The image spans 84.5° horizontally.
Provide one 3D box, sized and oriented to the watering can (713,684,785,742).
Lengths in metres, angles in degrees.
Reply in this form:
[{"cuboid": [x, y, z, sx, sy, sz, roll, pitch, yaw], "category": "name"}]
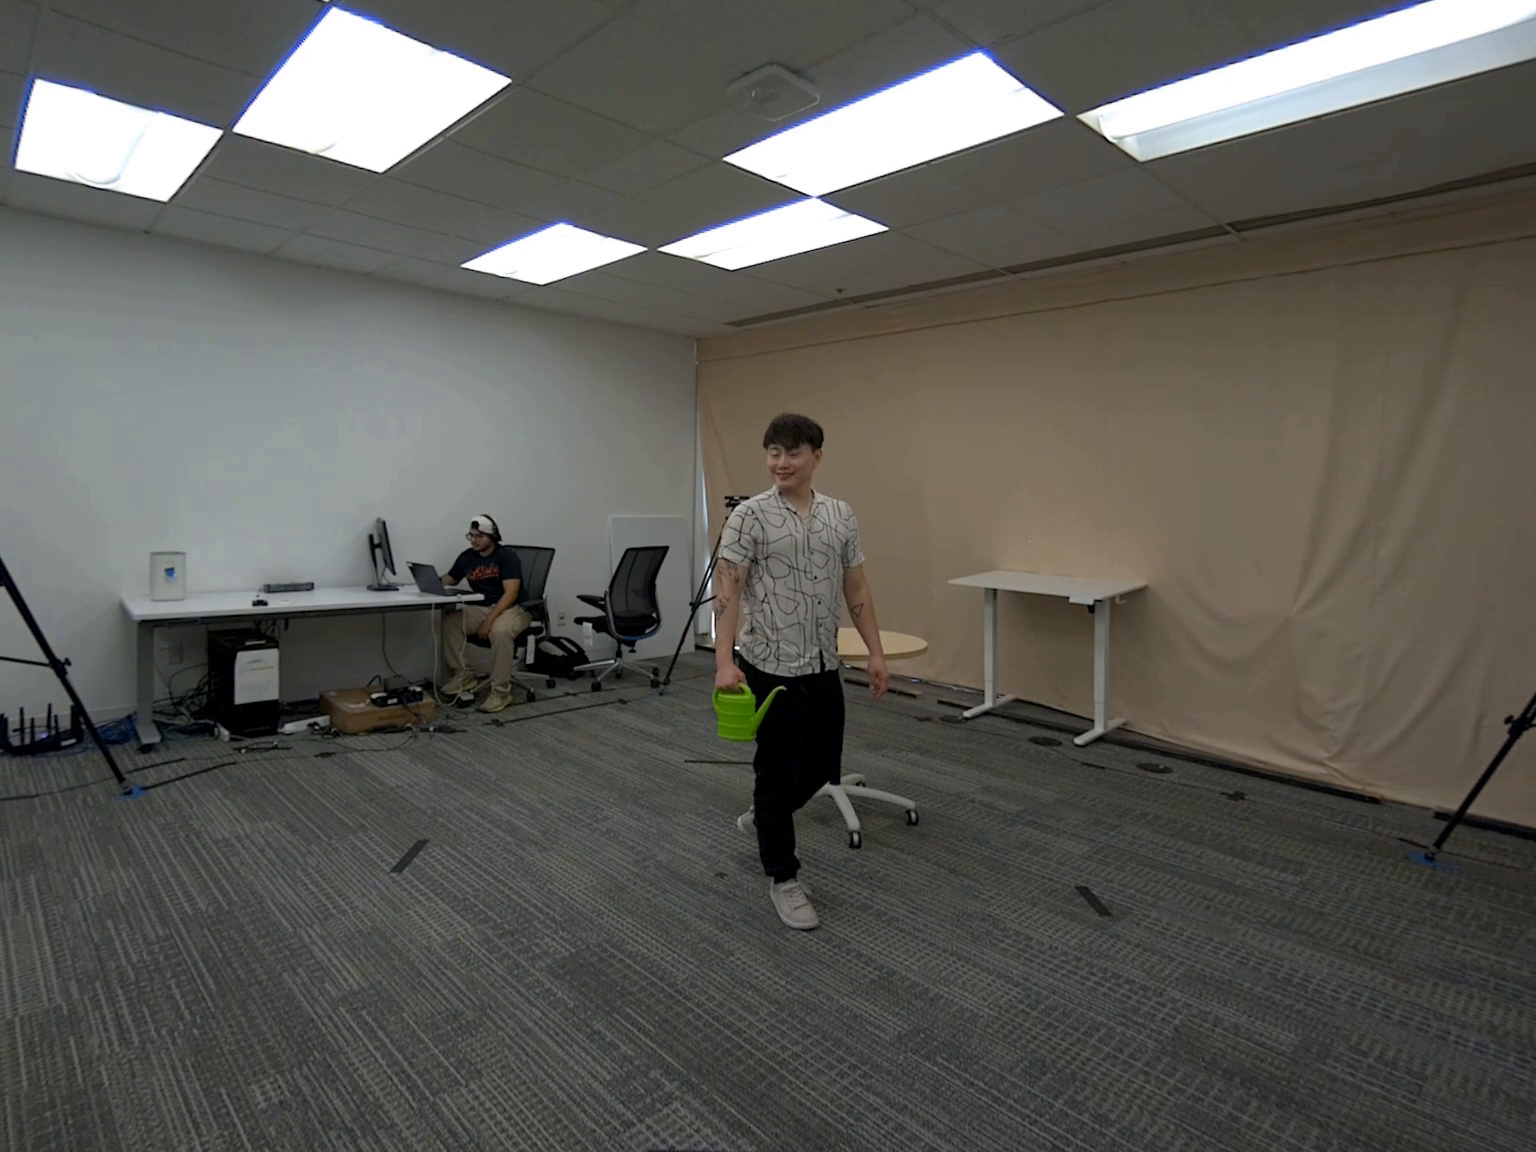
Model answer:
[{"cuboid": [-0.083, 0.421, 2.595, 0.096, 0.177, 0.284, 0, -1, -38], "category": "watering can"}]
